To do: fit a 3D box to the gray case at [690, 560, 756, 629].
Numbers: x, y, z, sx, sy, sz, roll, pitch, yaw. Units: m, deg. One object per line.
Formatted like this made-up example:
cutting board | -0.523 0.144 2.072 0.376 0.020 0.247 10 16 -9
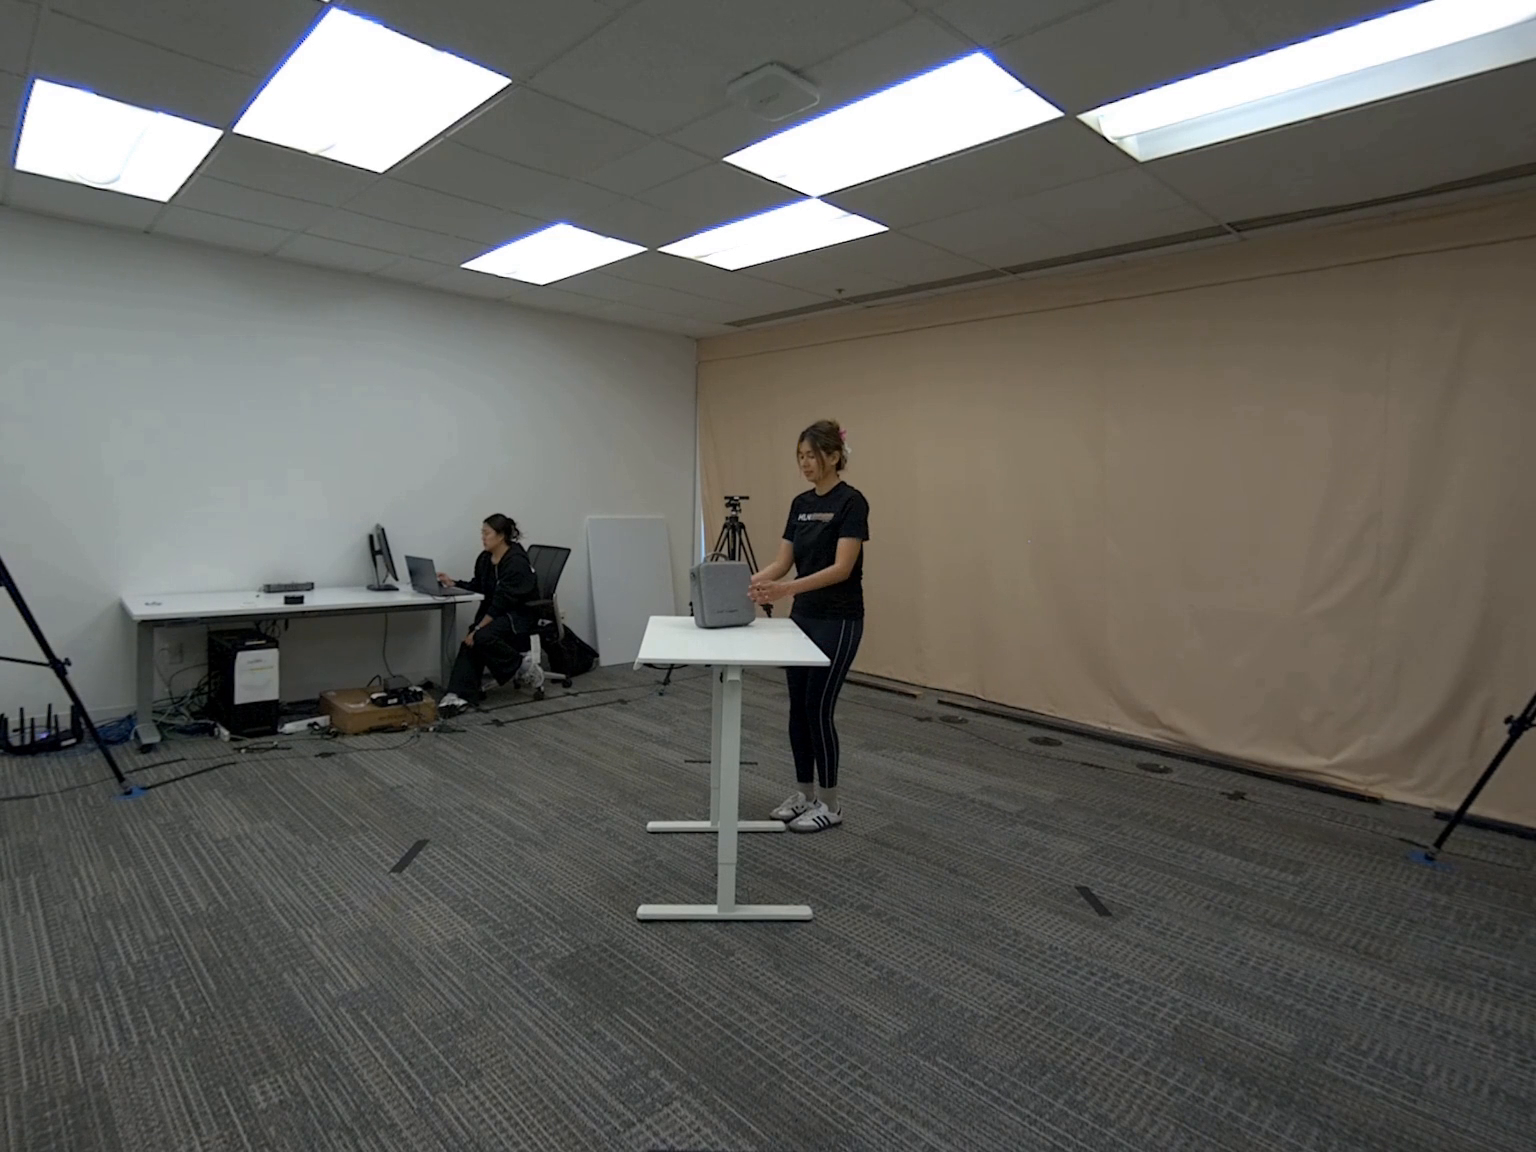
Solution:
gray case | -0.190 0.070 3.344 0.251 0.262 0.106 -1 -8 -40
